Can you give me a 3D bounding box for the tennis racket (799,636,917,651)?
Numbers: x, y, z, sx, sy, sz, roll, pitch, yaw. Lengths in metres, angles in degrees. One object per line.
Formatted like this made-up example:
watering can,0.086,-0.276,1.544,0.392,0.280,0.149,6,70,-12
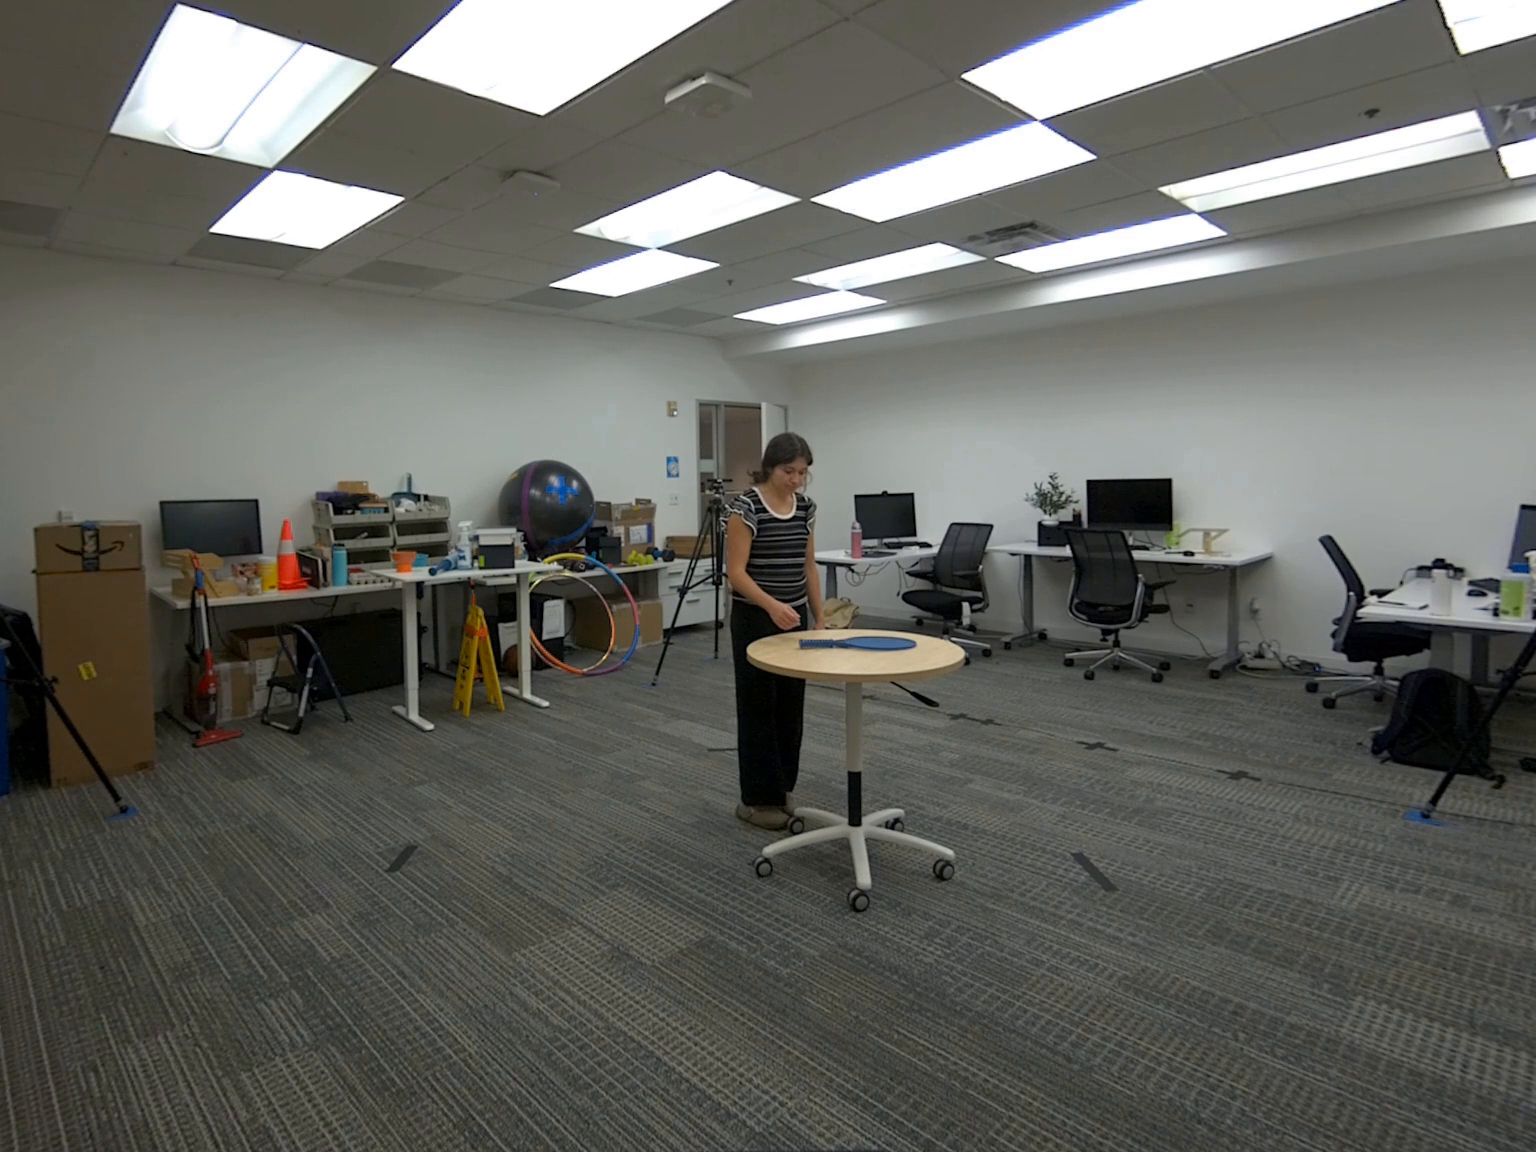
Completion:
tennis racket,0.328,0.247,3.102,0.428,0.031,0.217,-1,7,-11
